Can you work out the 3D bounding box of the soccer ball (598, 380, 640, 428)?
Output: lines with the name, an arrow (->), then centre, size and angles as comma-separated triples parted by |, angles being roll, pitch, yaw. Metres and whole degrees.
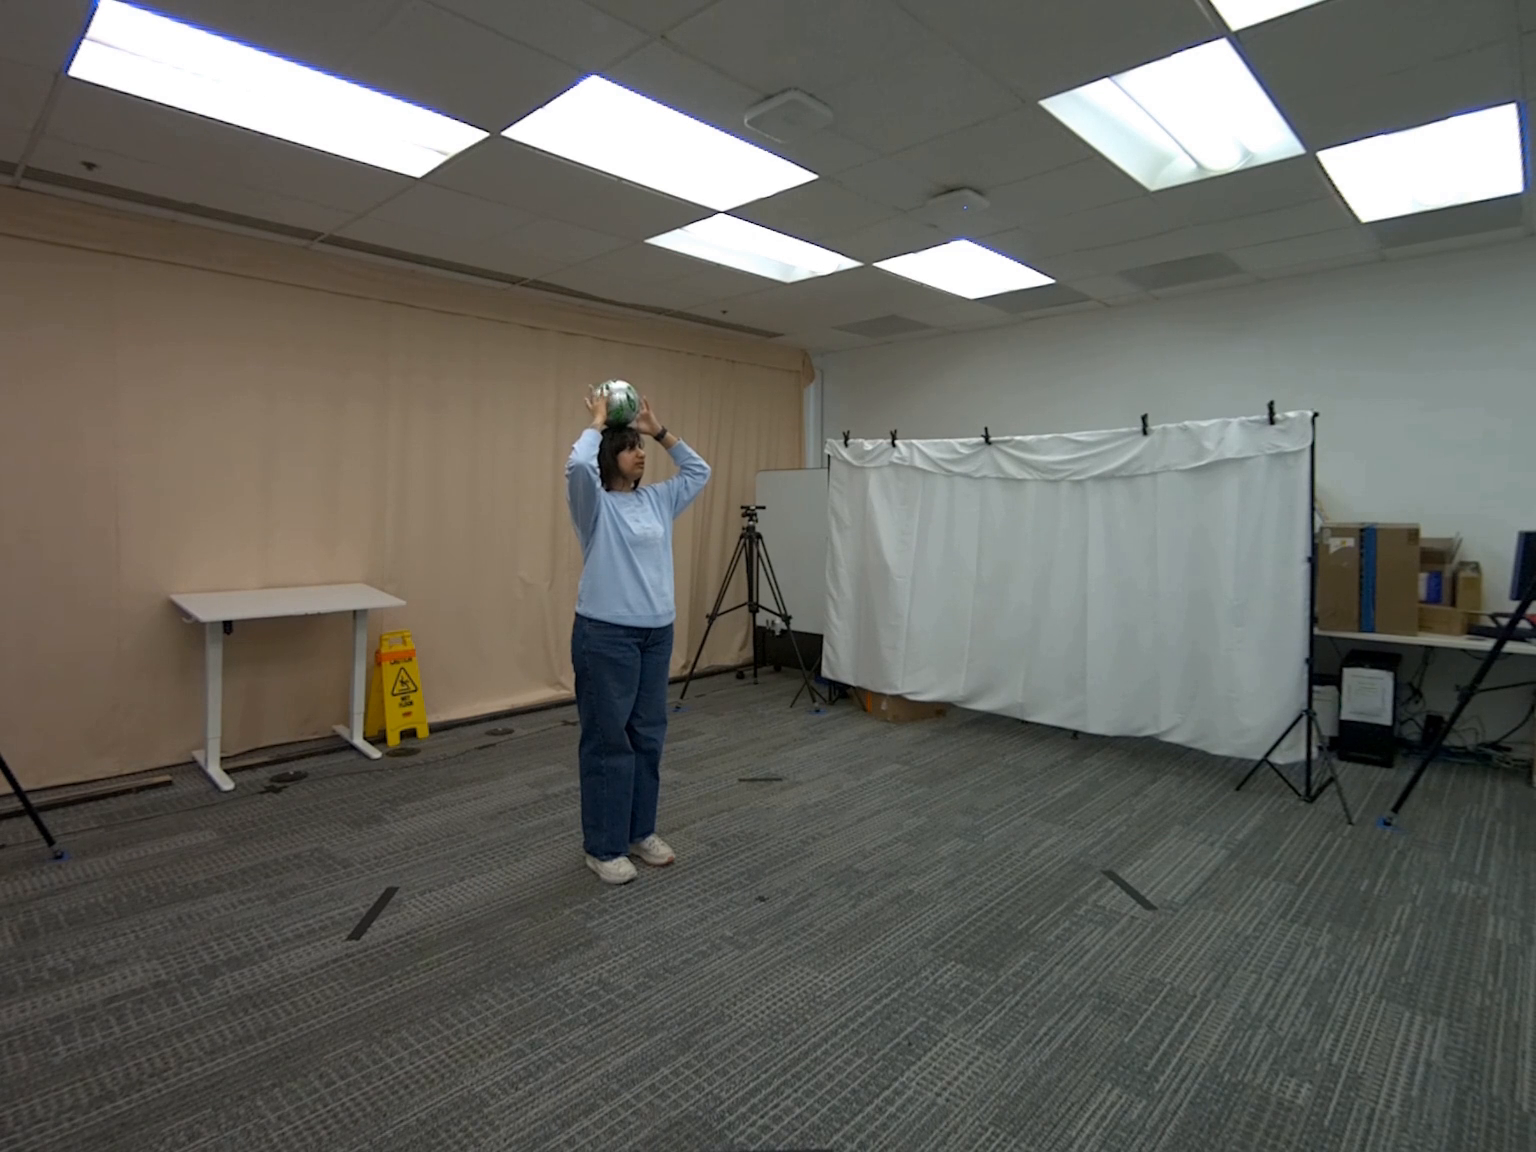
soccer ball -> -0.590, -0.663, 3.250 | 0.187, 0.187, 0.188 | 0, 4, -2
